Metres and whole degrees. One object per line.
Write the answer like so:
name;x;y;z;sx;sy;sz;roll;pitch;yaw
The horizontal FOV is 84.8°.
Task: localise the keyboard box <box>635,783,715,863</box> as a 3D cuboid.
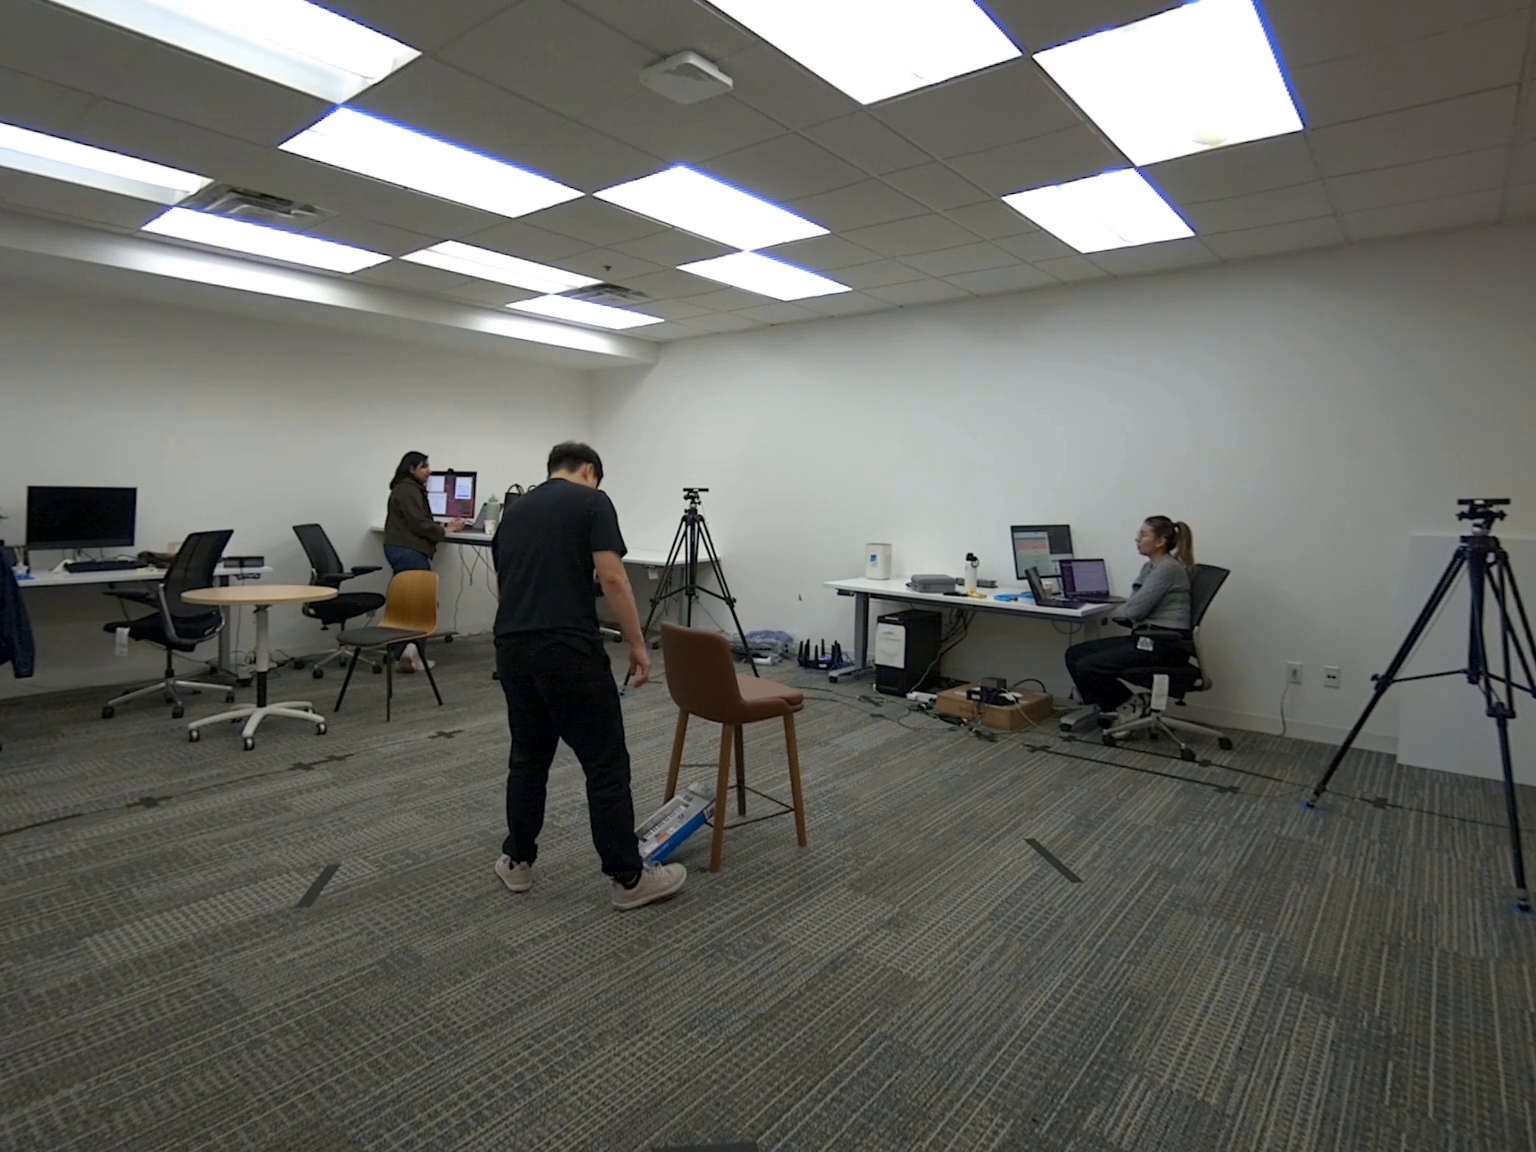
keyboard box;-0.381;0.944;3.176;0.432;0.058;0.182;-35;25;-33
